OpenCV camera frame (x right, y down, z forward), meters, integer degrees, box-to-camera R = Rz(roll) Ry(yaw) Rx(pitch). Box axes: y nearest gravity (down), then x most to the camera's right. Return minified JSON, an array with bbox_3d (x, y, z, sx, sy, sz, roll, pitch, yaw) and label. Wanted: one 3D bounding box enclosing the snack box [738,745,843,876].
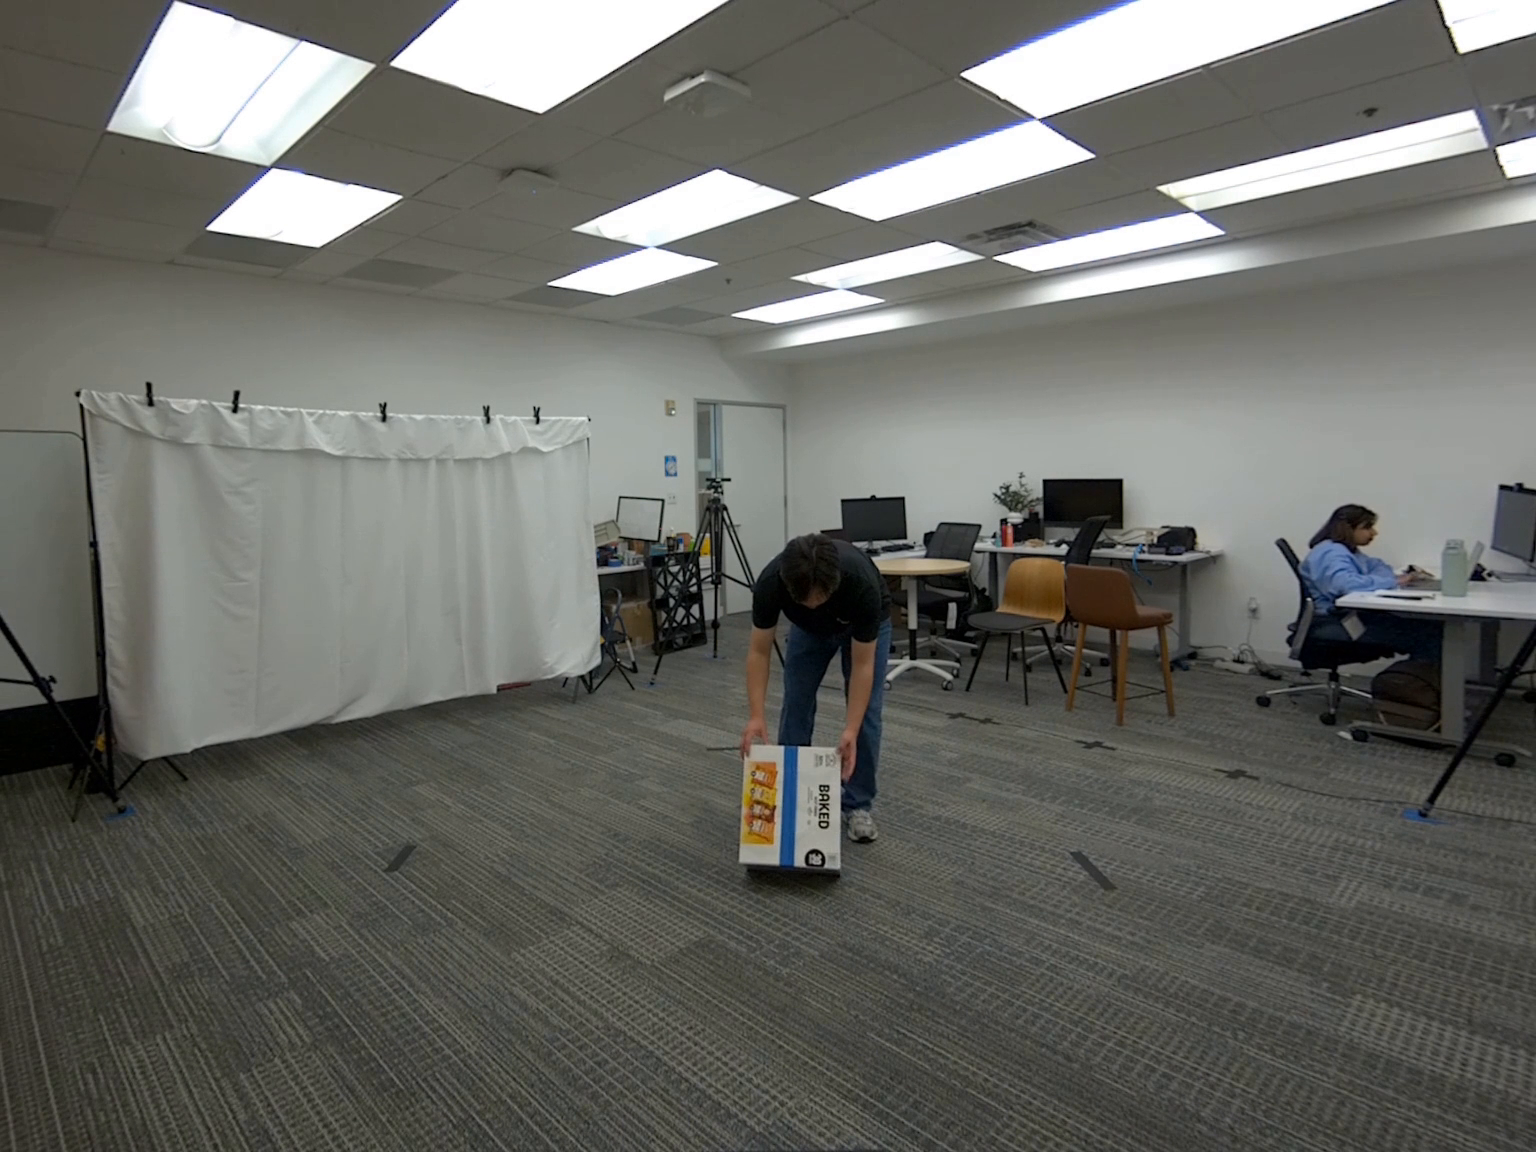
[{"bbox_3d":[0.091,0.827,3.029,0.343,0.413,0.200,-1,-25,9],"label":"snack box"}]
